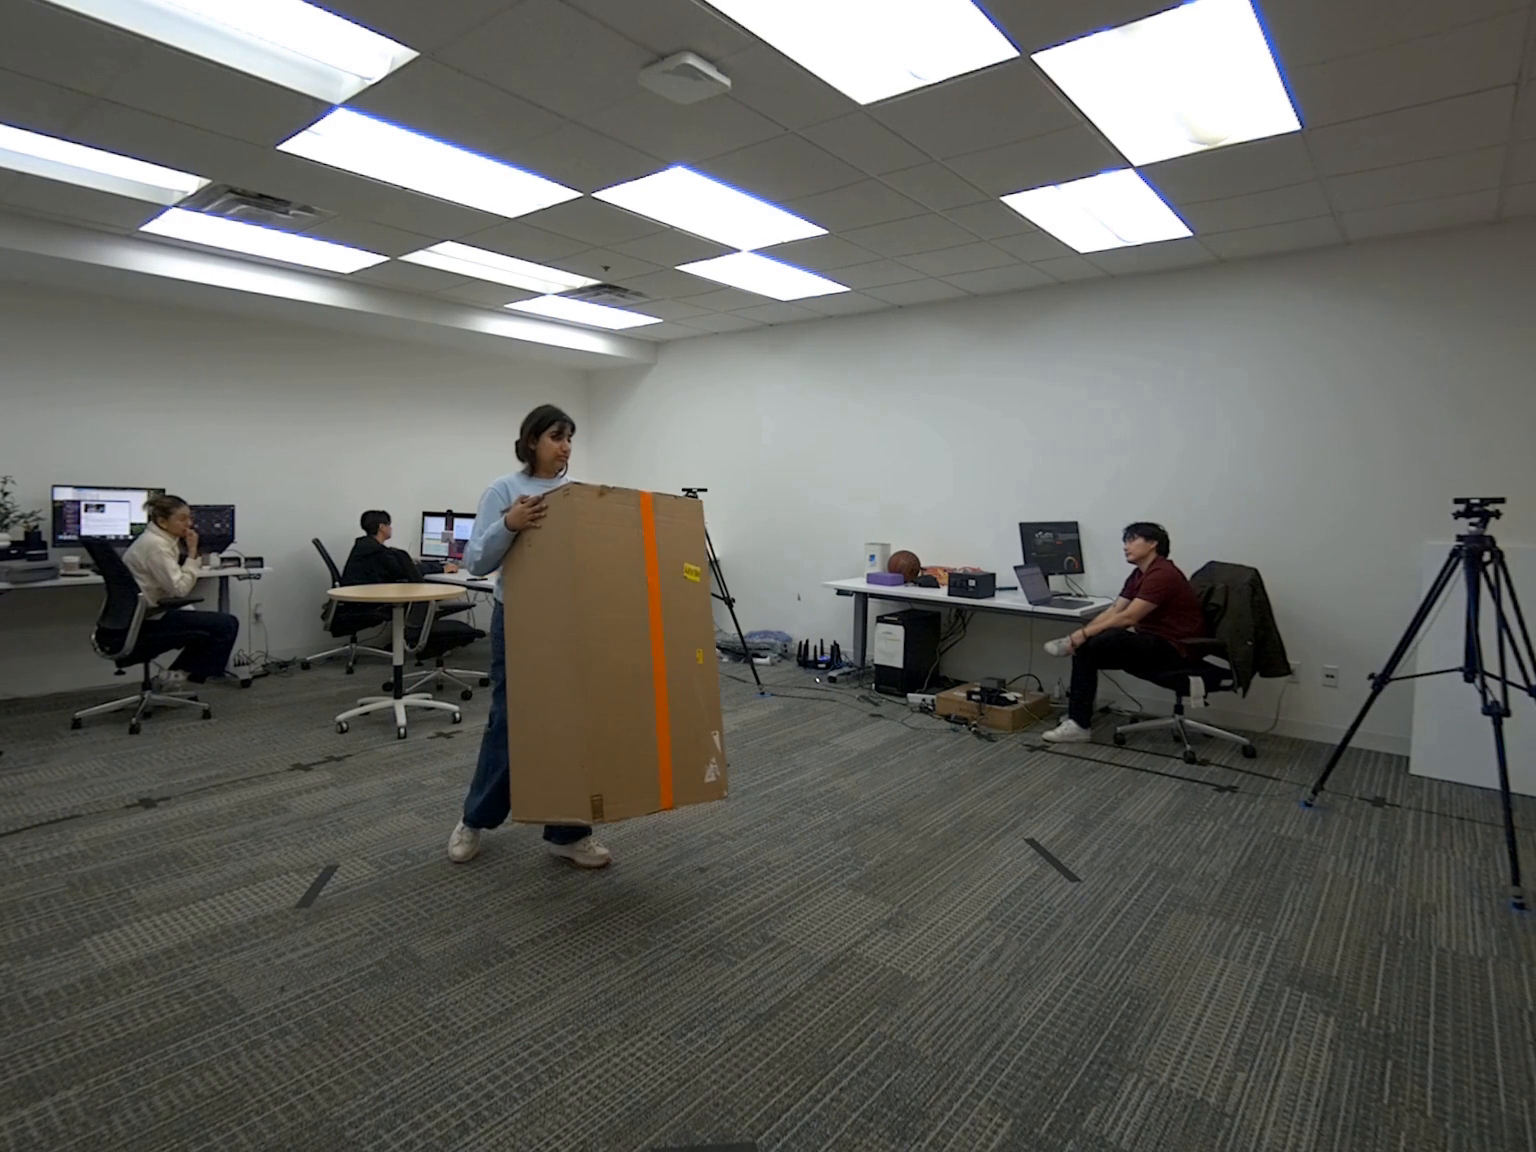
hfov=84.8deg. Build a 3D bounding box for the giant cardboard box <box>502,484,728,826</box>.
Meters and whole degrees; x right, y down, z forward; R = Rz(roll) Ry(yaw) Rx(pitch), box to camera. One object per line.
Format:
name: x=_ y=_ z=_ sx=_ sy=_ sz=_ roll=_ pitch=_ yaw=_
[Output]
giant cardboard box: x=-0.527 y=0.258 z=2.850 sx=0.436 sy=1.038 sz=0.558 roll=-15 pitch=-14 yaw=41
